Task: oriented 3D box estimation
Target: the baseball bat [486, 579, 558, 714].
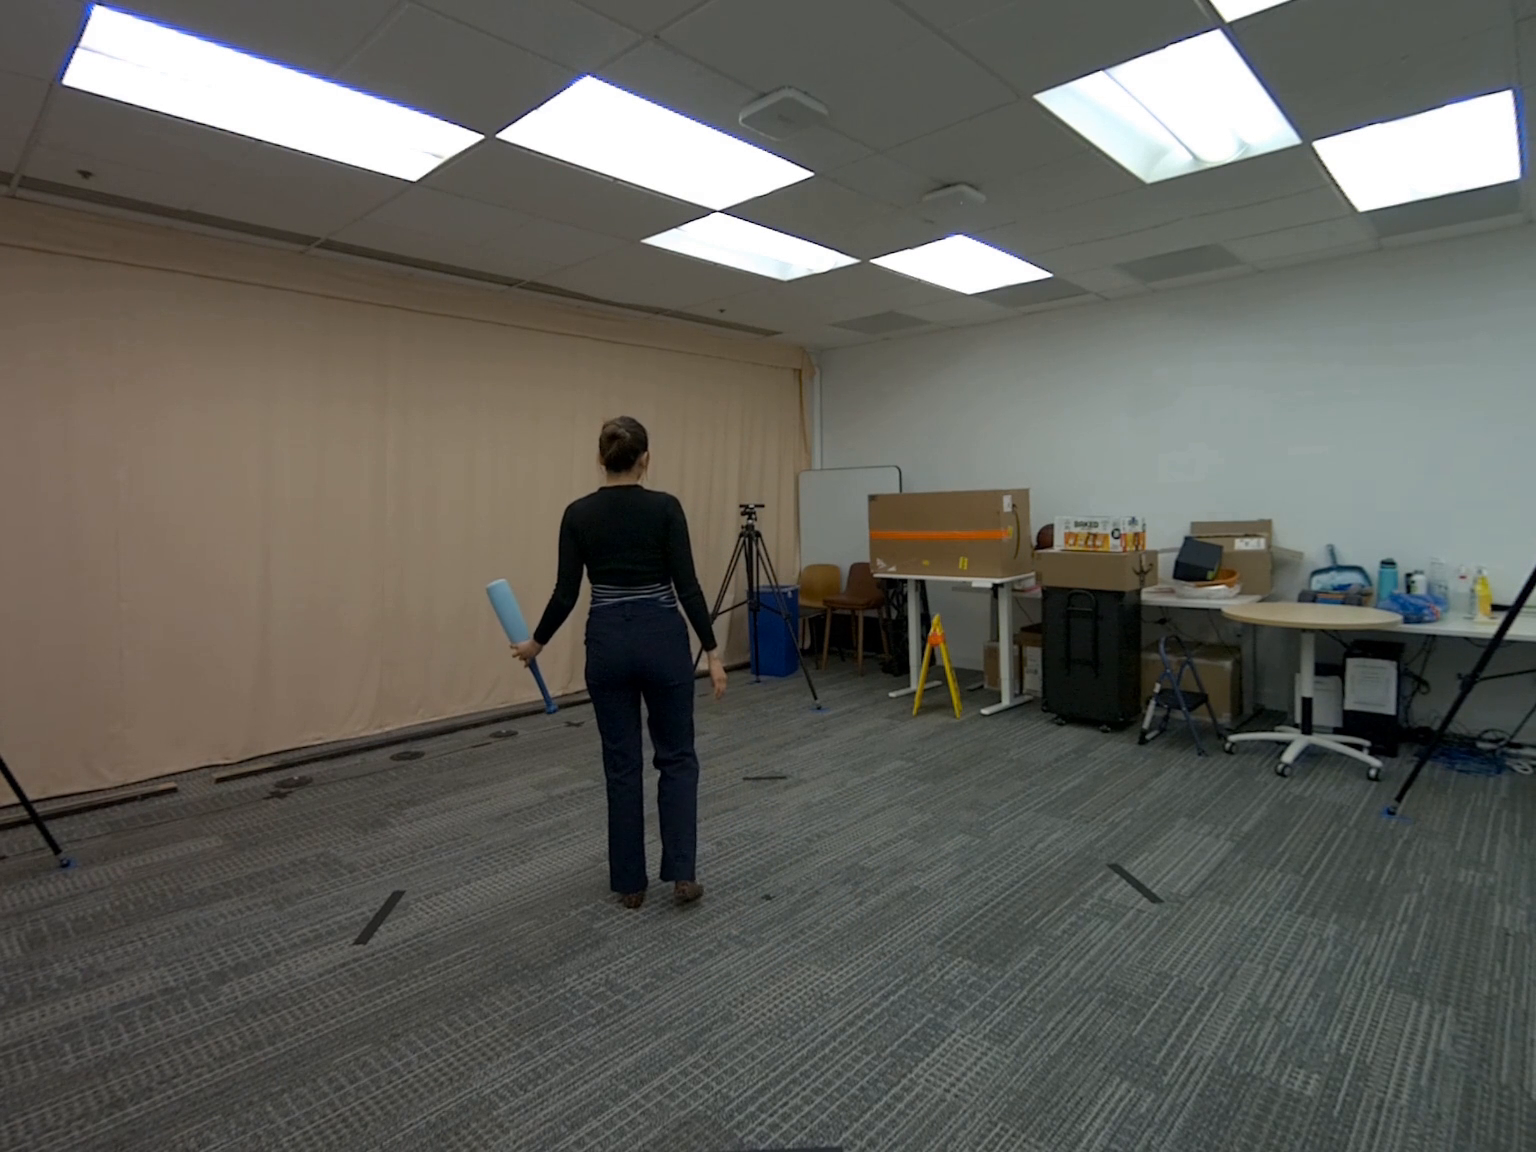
[{"bbox_3d":[-0.932,0.273,3.170,0.089,0.542,0.089,-22,2,-1],"label":"baseball bat"}]
